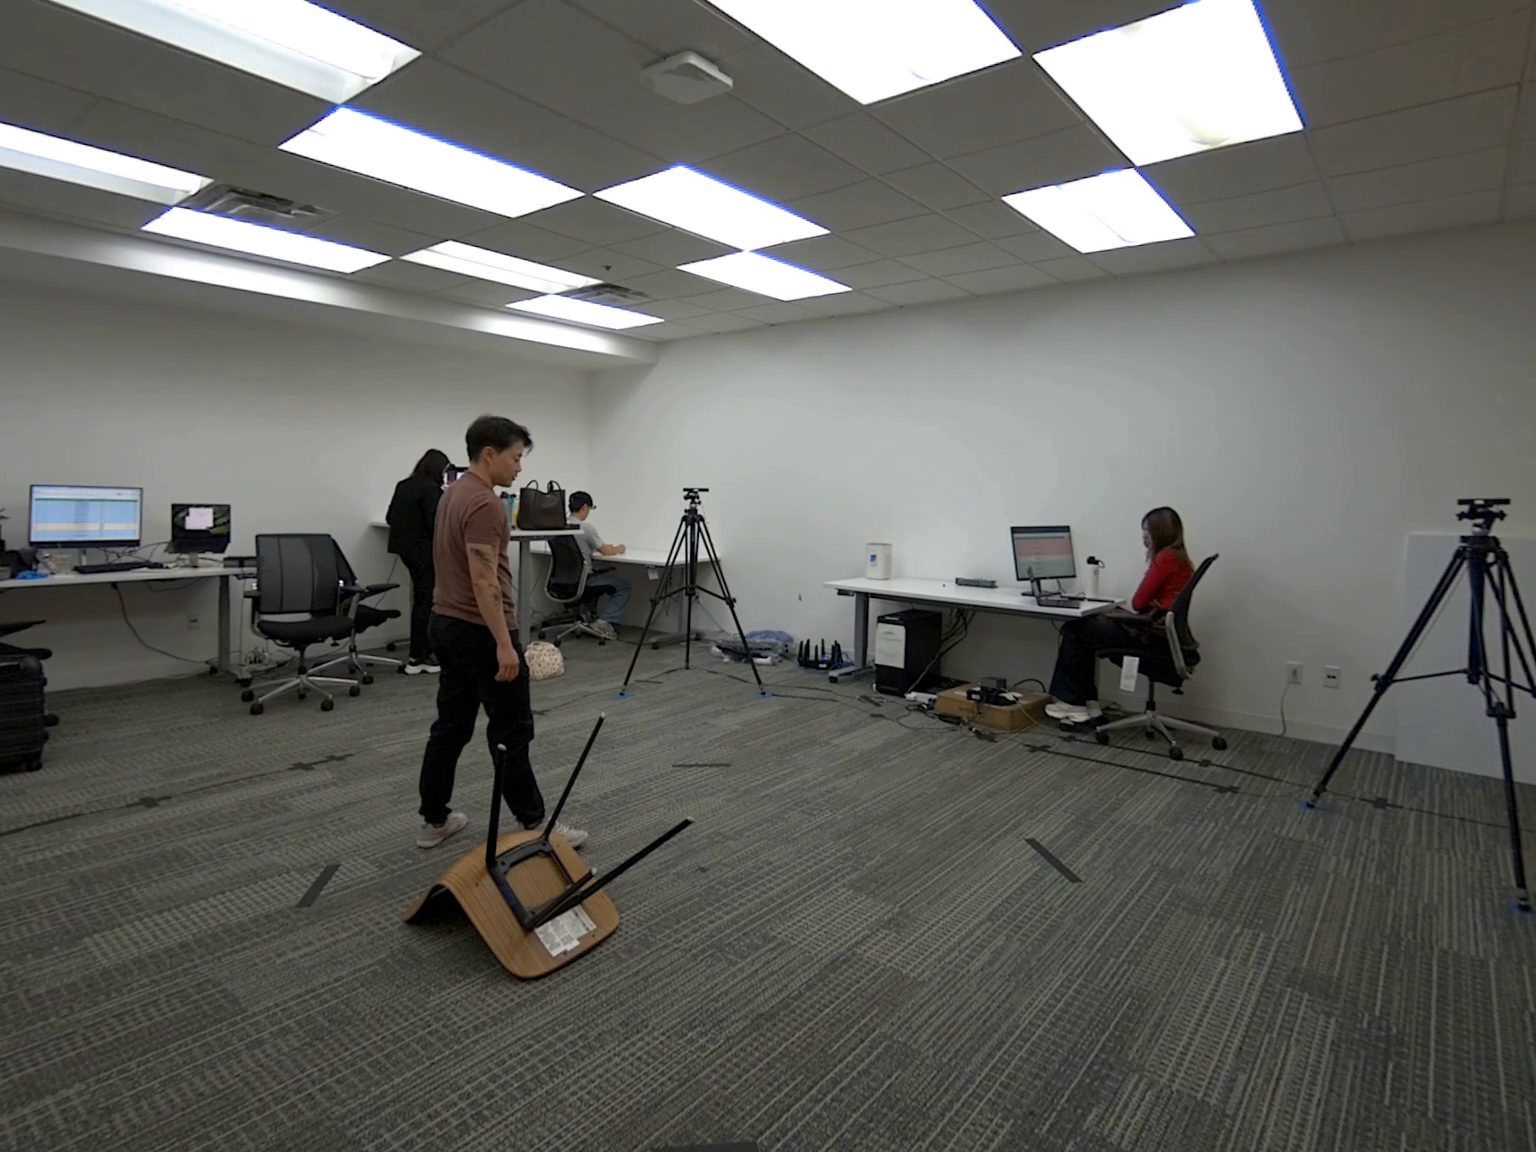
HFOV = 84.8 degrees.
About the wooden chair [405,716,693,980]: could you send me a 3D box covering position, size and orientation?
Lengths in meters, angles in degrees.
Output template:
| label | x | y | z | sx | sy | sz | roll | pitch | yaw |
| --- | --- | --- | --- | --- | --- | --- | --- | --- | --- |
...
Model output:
| label | x | y | z | sx | sy | sz | roll | pitch | yaw |
| --- | --- | --- | --- | --- | --- | --- | --- | --- | --- |
| wooden chair | -0.720 | 0.939 | 2.618 | 0.539 | 0.875 | 0.466 | 47 | 24 | 20 |
